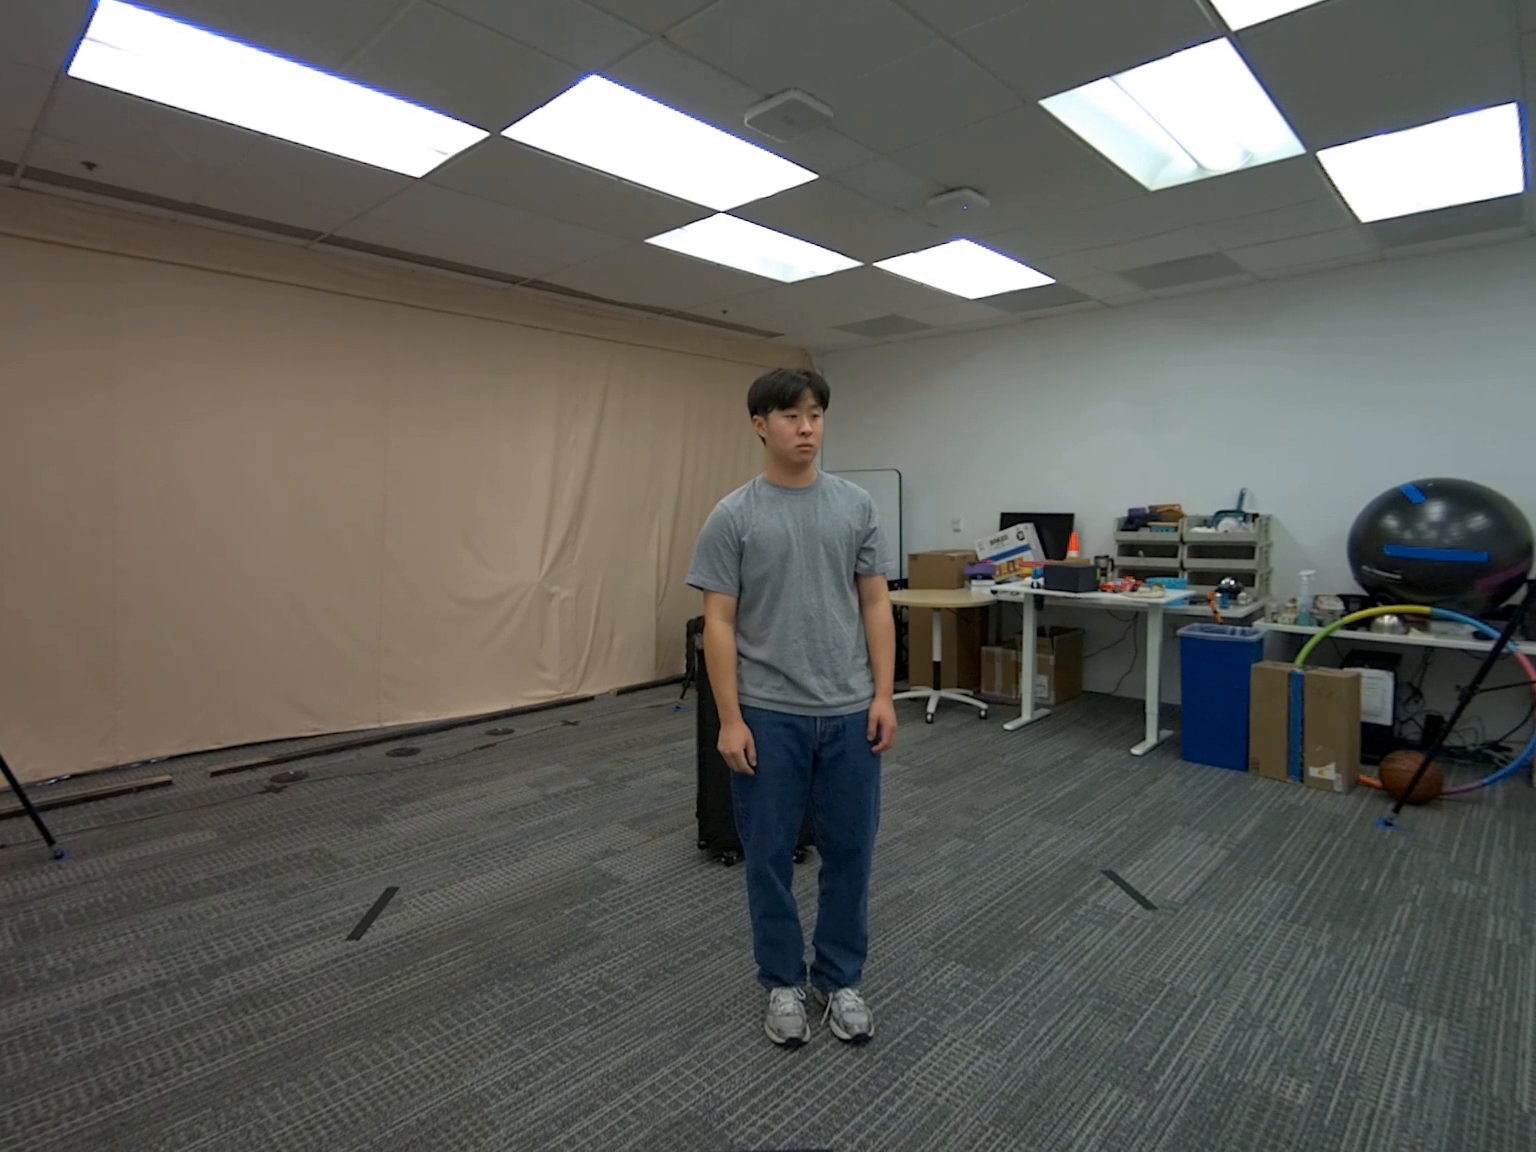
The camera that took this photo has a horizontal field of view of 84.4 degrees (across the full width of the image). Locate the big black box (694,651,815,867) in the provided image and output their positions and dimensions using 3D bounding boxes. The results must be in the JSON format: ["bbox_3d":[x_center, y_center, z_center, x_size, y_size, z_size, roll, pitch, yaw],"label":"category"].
[{"bbox_3d":[-0.044,0.630,3.425,0.519,0.860,0.399,0,3,-5],"label":"big black box"}]
